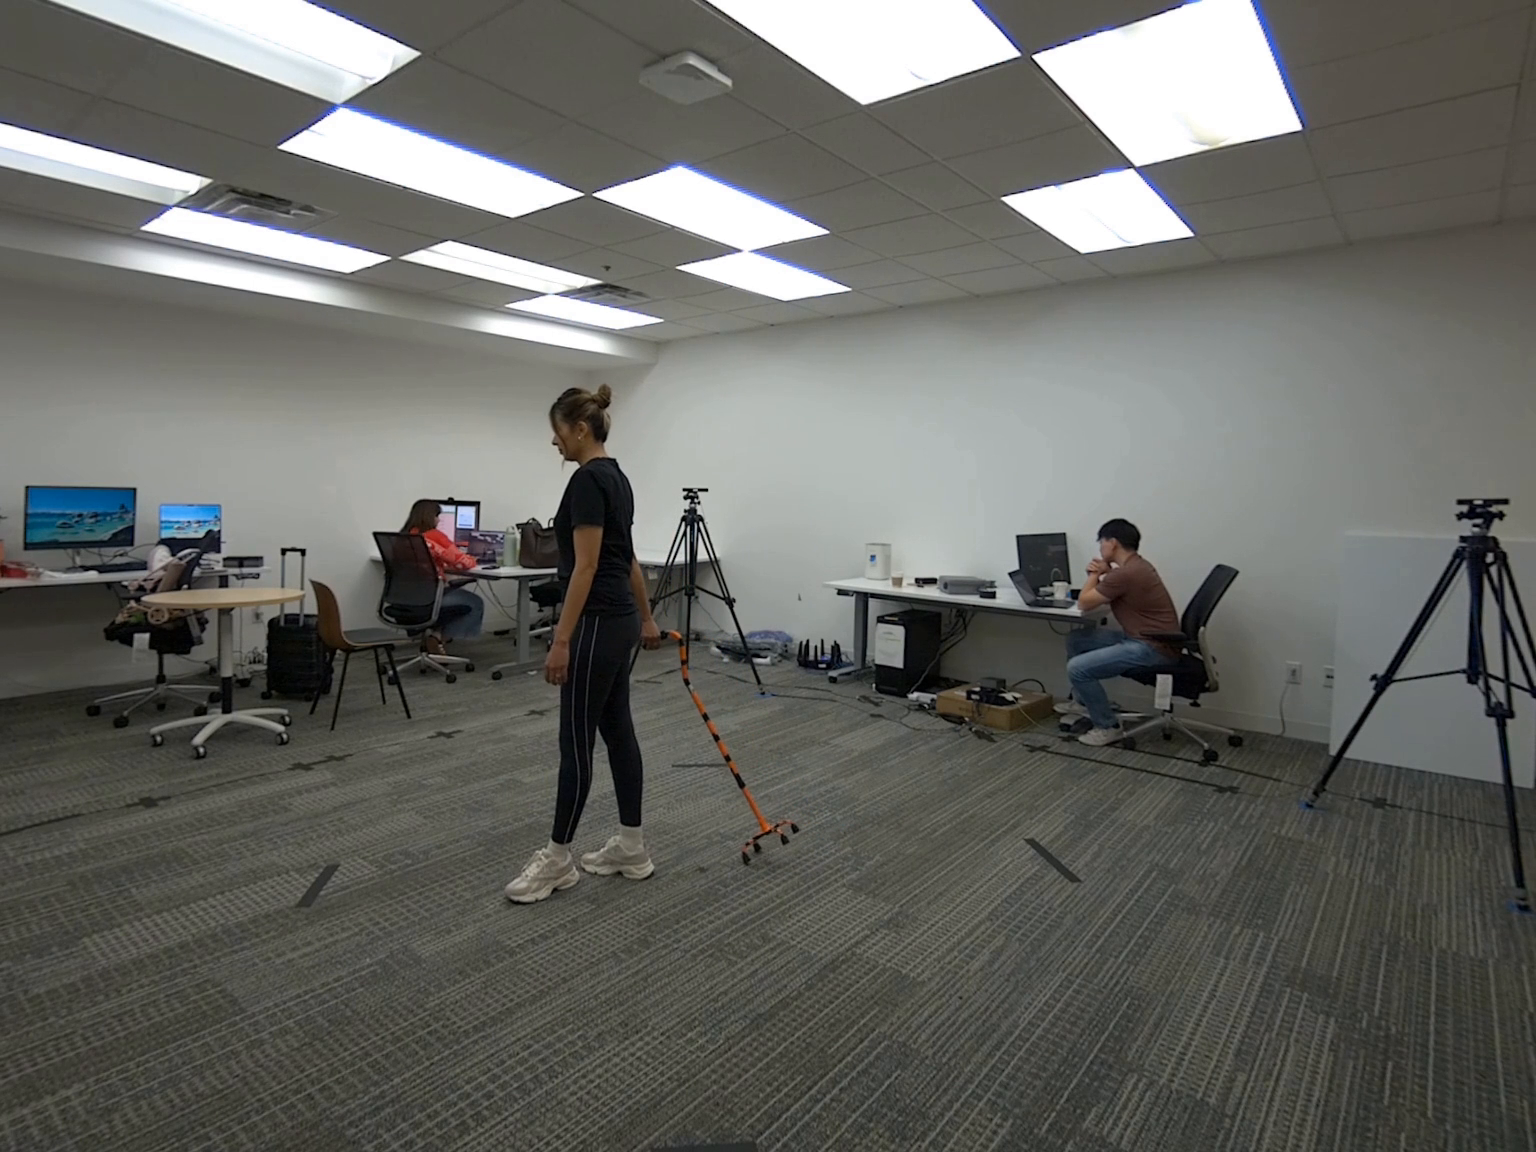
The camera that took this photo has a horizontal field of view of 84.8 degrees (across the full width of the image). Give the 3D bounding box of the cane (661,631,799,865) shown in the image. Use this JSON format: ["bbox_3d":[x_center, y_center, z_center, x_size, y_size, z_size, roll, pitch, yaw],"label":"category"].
[{"bbox_3d":[-0.213,0.616,3.264,0.208,0.921,0.148,-33,-10,19],"label":"cane"}]
